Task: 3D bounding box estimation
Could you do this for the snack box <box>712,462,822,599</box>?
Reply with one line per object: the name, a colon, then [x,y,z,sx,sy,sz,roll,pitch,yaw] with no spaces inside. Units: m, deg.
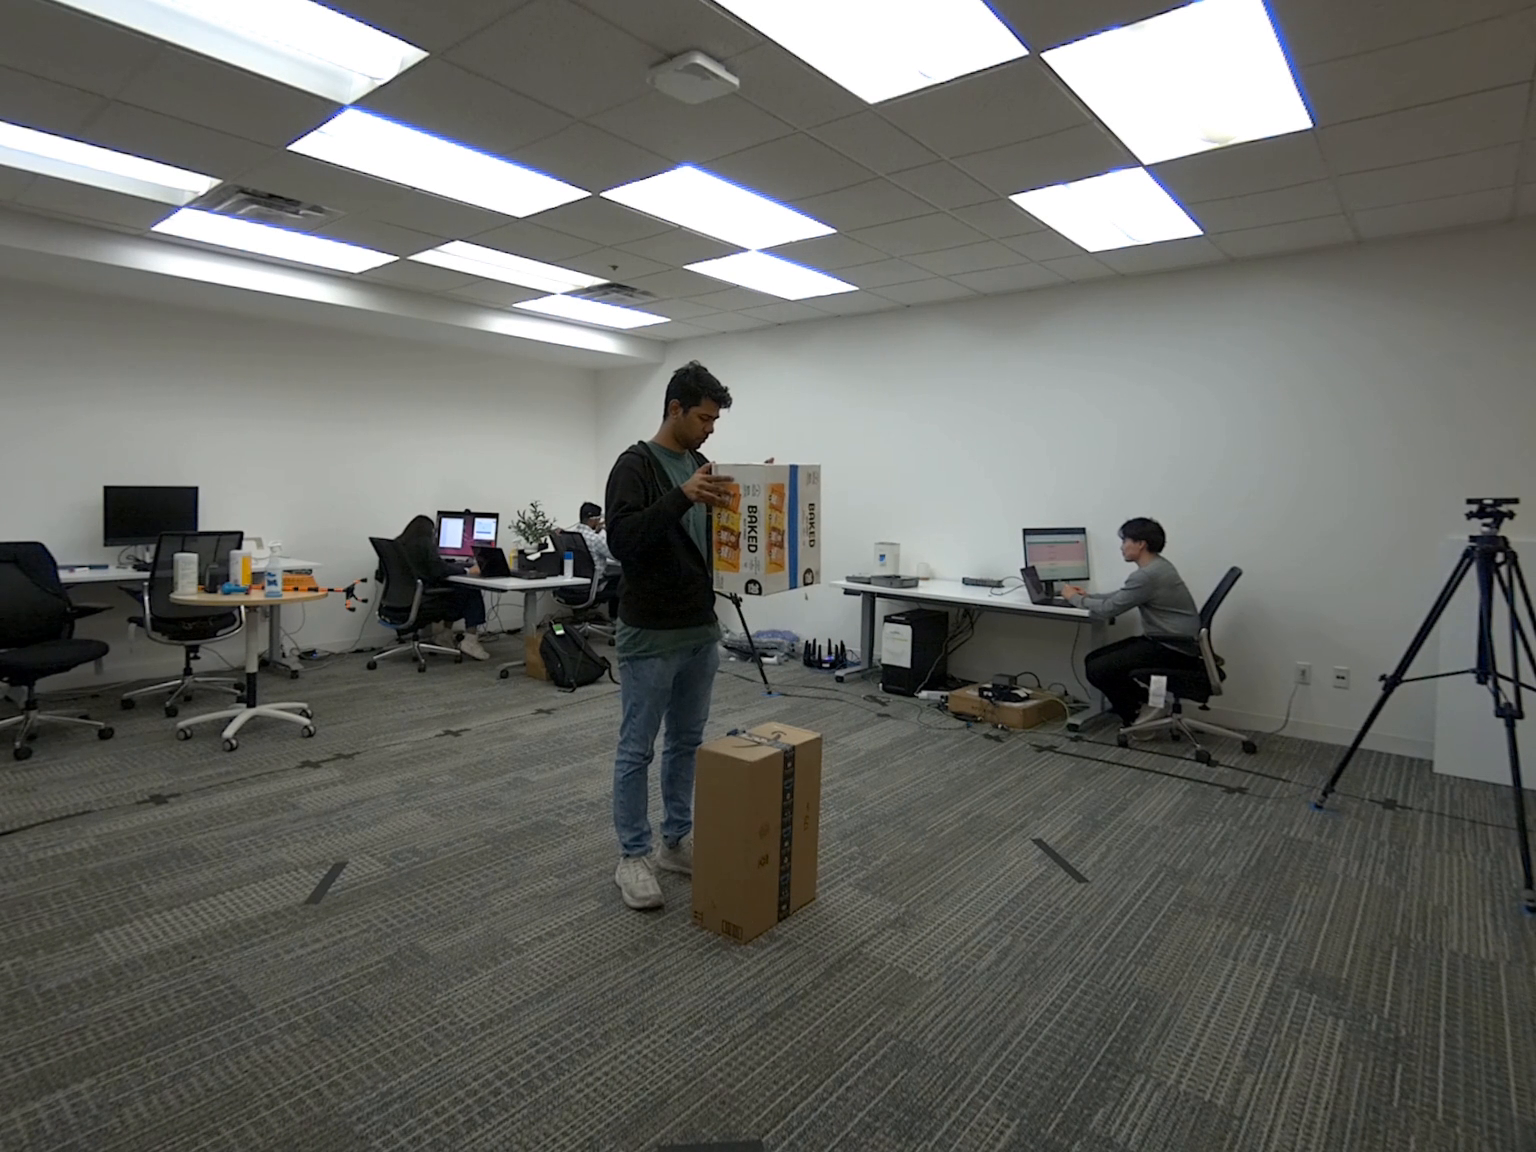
snack box: [-0.012,-0.145,2.766,0.212,0.403,0.331,4,7,36]
